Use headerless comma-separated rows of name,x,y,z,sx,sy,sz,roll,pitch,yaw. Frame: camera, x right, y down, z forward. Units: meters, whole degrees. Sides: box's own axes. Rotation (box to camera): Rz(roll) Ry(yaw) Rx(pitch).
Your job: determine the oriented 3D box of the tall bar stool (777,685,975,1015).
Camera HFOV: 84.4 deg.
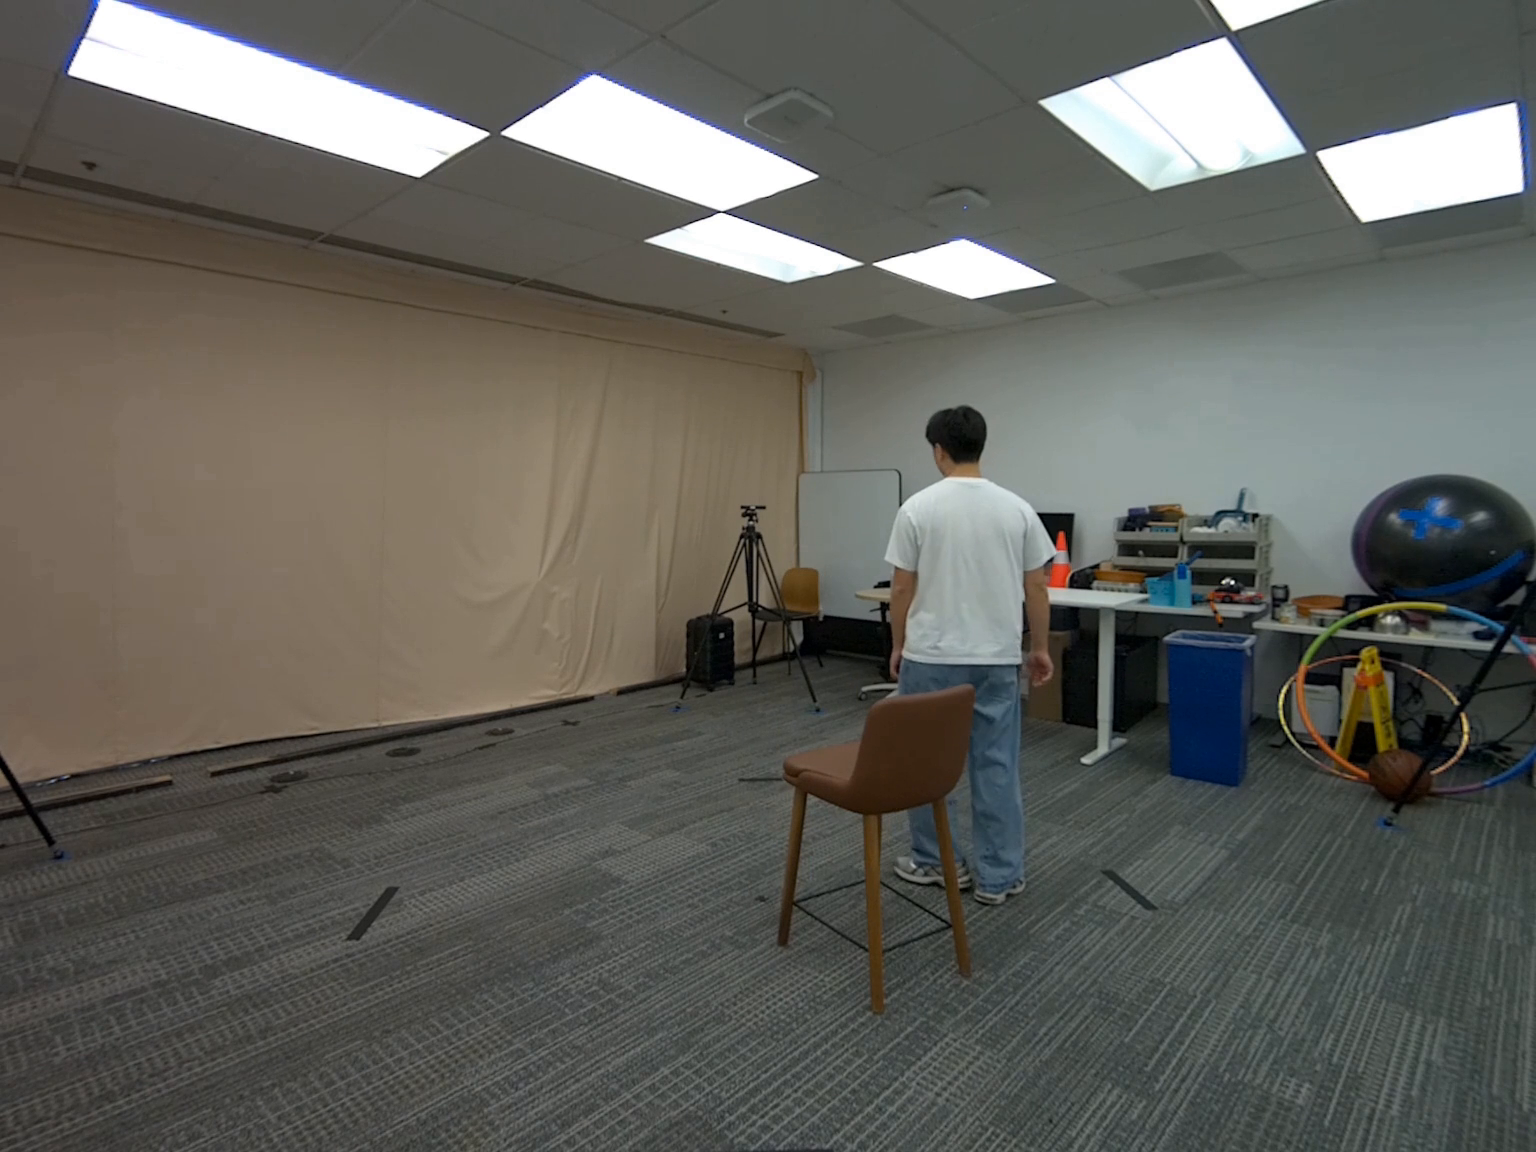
tall bar stool,0.331,0.742,2.559,0.443,0.887,0.482,-2,6,-34
